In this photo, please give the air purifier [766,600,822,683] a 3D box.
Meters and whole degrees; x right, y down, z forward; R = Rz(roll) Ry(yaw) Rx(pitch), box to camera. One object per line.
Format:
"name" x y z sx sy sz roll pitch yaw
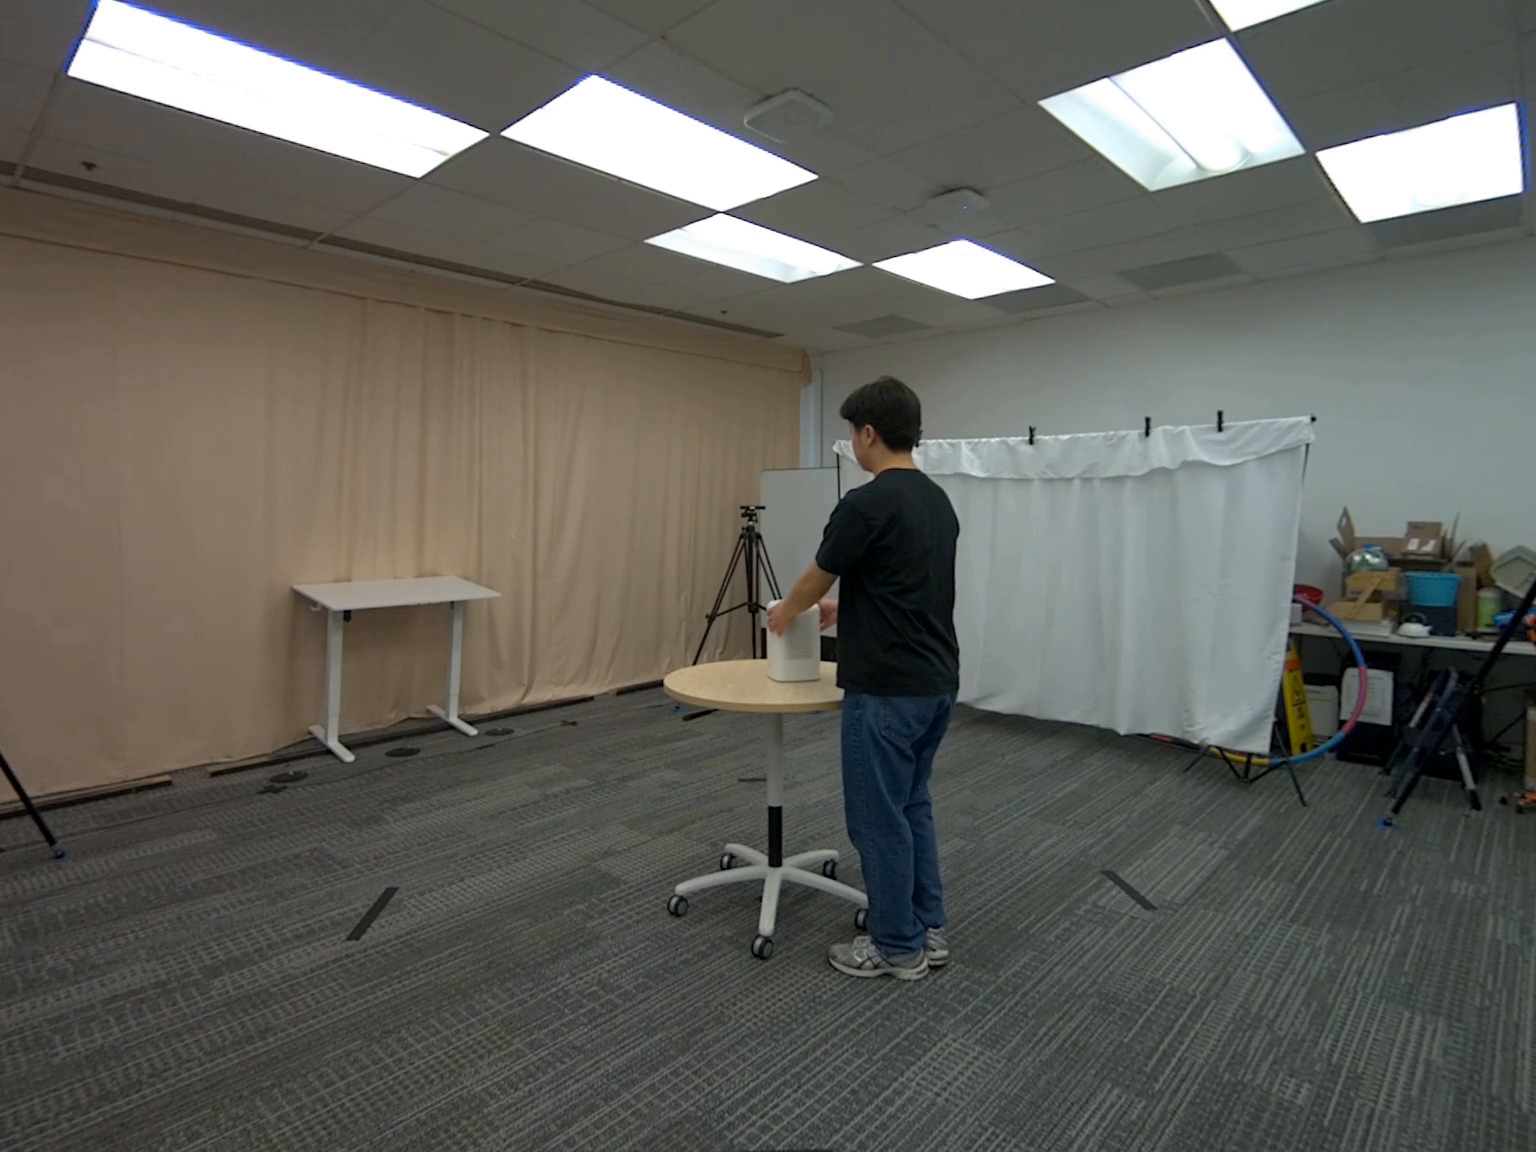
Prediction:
"air purifier" 0.094 0.223 2.922 0.170 0.264 0.173 1 5 -9
